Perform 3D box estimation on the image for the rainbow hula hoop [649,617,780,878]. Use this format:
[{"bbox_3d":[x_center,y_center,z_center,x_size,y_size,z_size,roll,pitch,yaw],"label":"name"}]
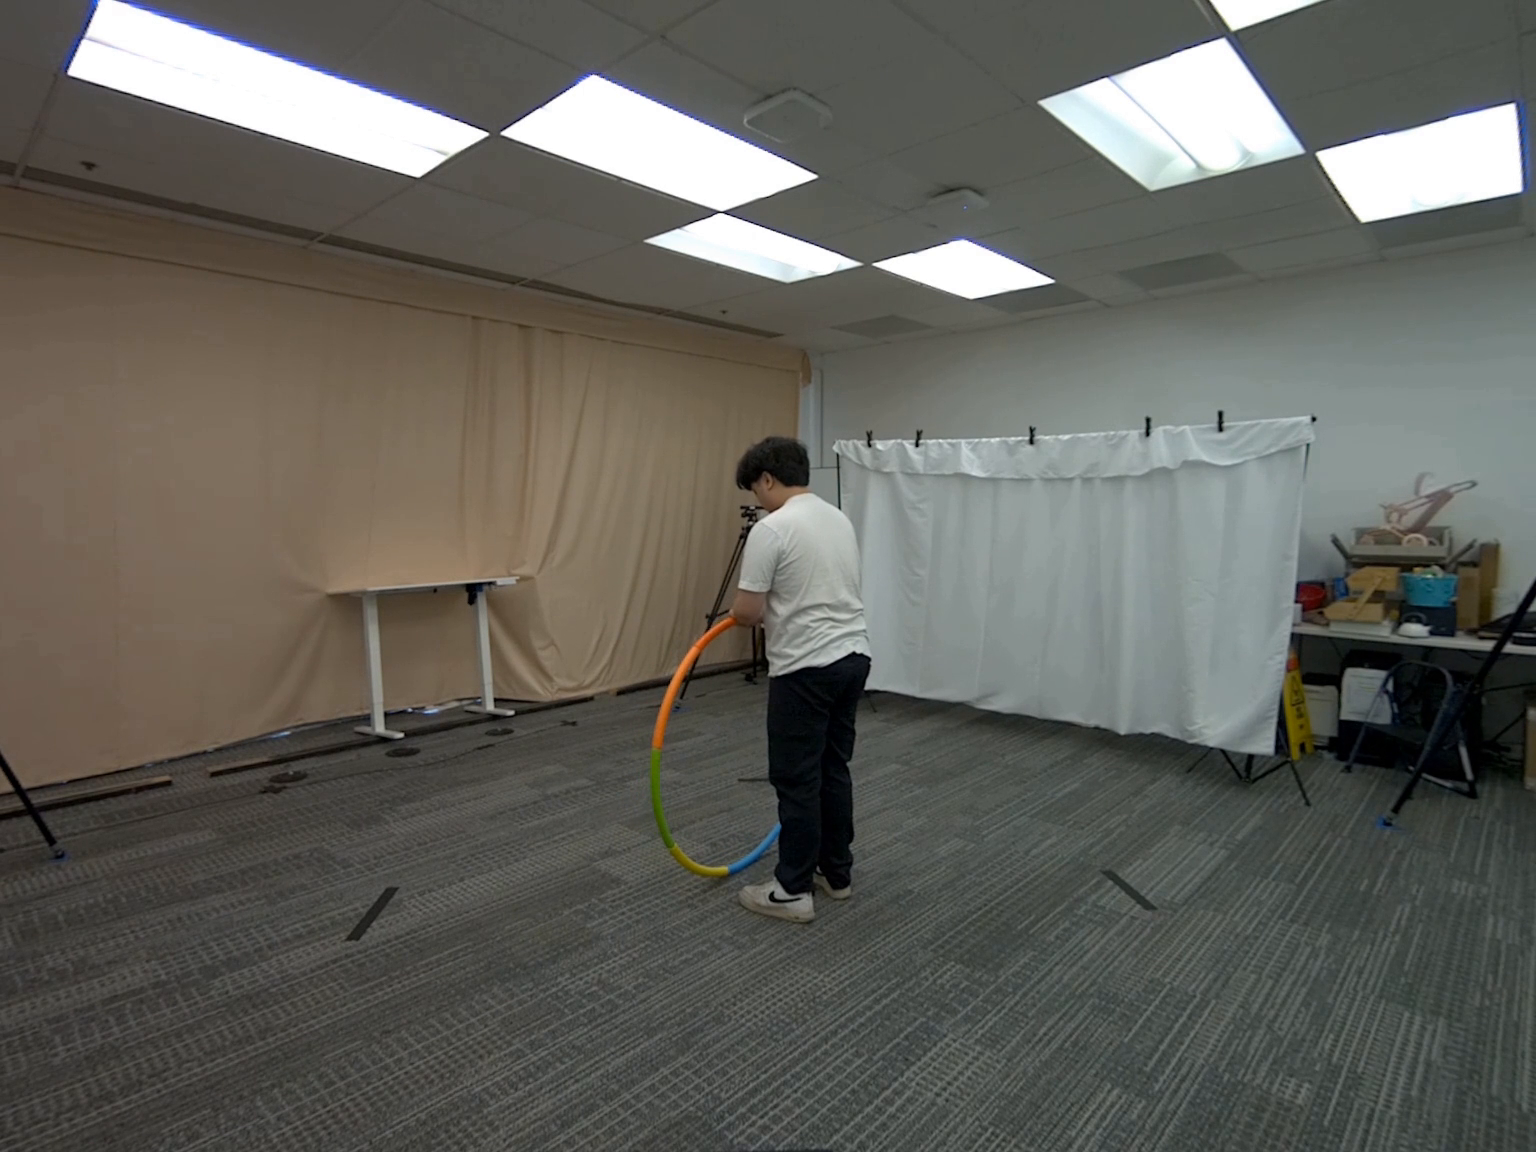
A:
[{"bbox_3d":[-0.099,0.636,3.196,0.053,0.983,0.956,4,5,38],"label":"rainbow hula hoop"}]
